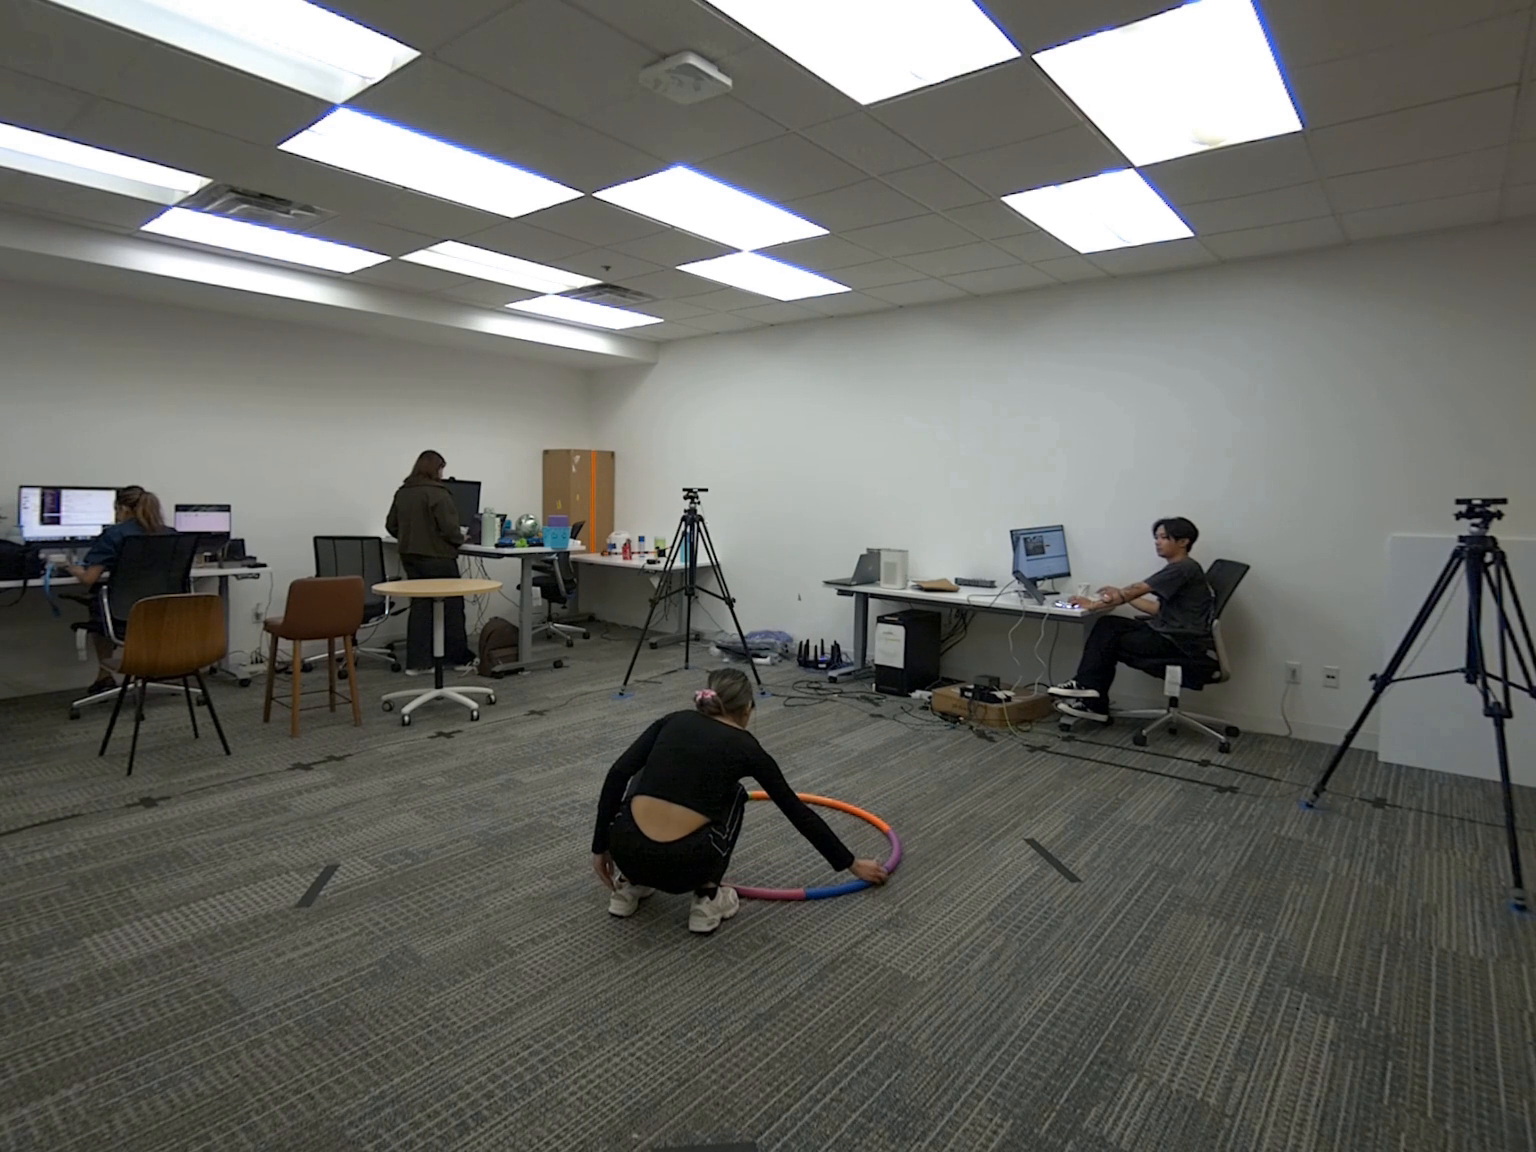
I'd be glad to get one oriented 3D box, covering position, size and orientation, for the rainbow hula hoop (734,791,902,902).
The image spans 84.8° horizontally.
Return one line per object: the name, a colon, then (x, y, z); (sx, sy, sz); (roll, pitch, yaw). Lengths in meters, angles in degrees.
rainbow hula hoop: (0.021, 1.014, 3.358); (0.978, 0.035, 0.984); (1, 6, -2)
